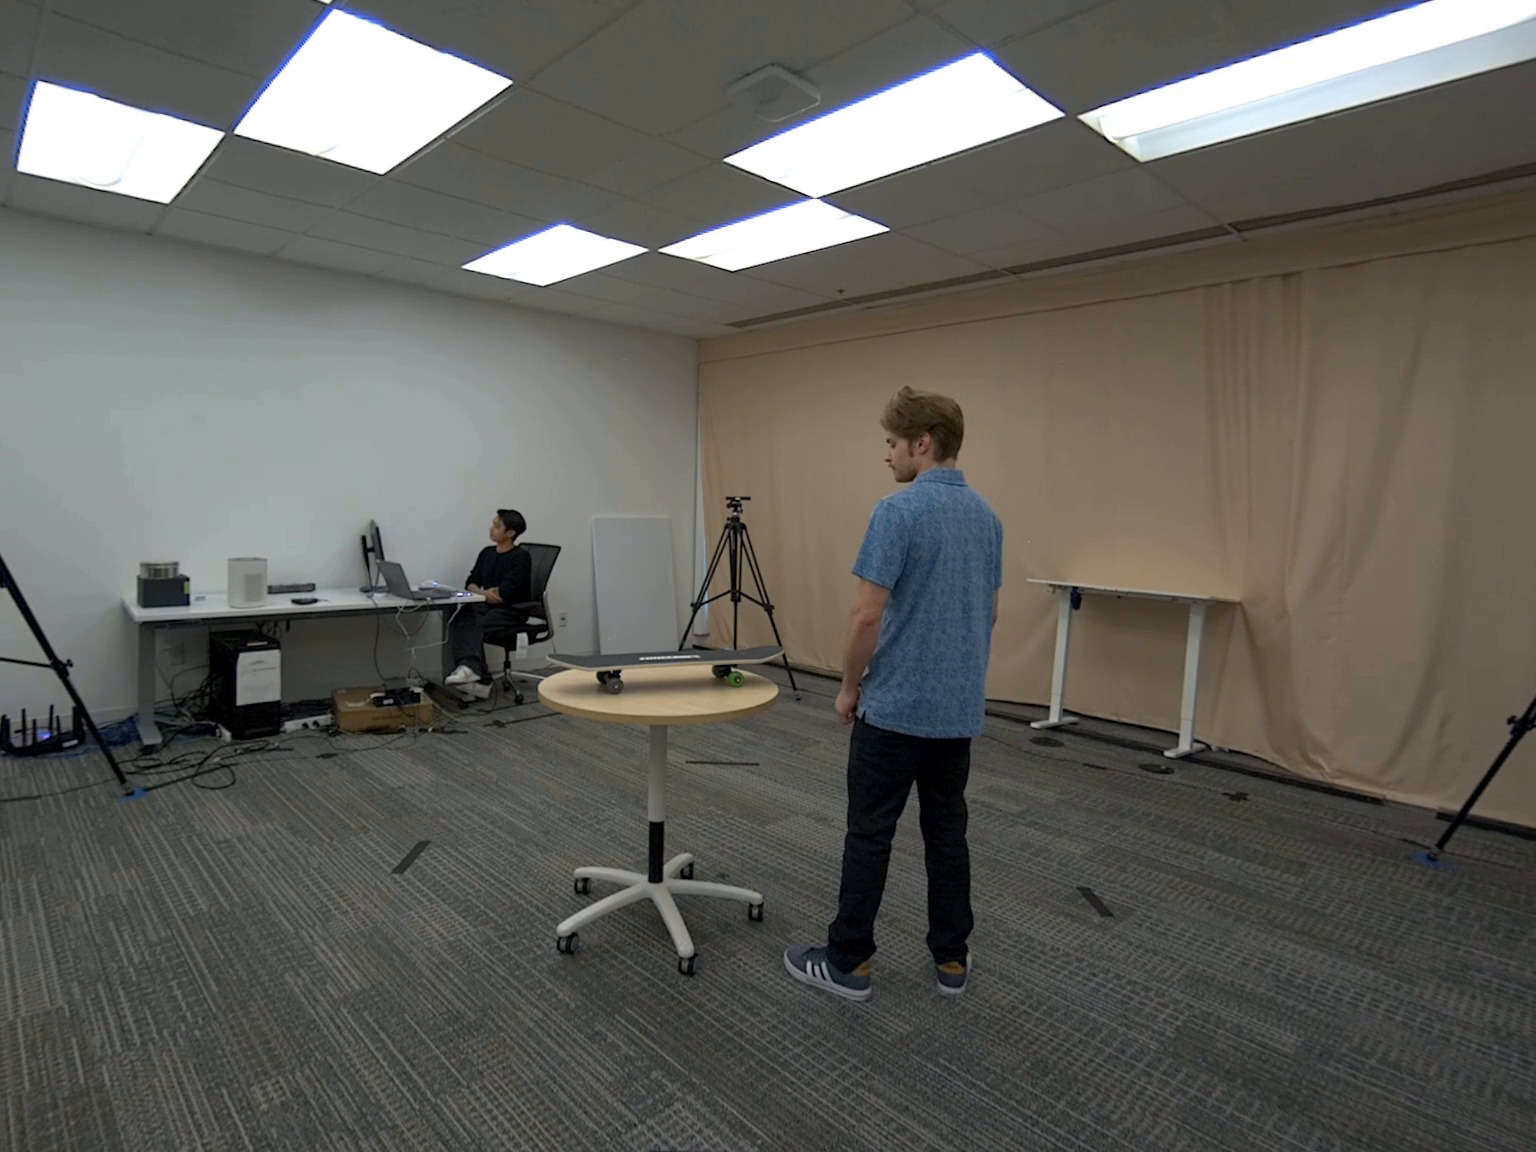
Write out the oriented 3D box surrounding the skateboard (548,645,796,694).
[{"bbox_3d":[-0.322,0.305,2.710,0.774,0.110,0.197,-1,6,-20],"label":"skateboard"}]
